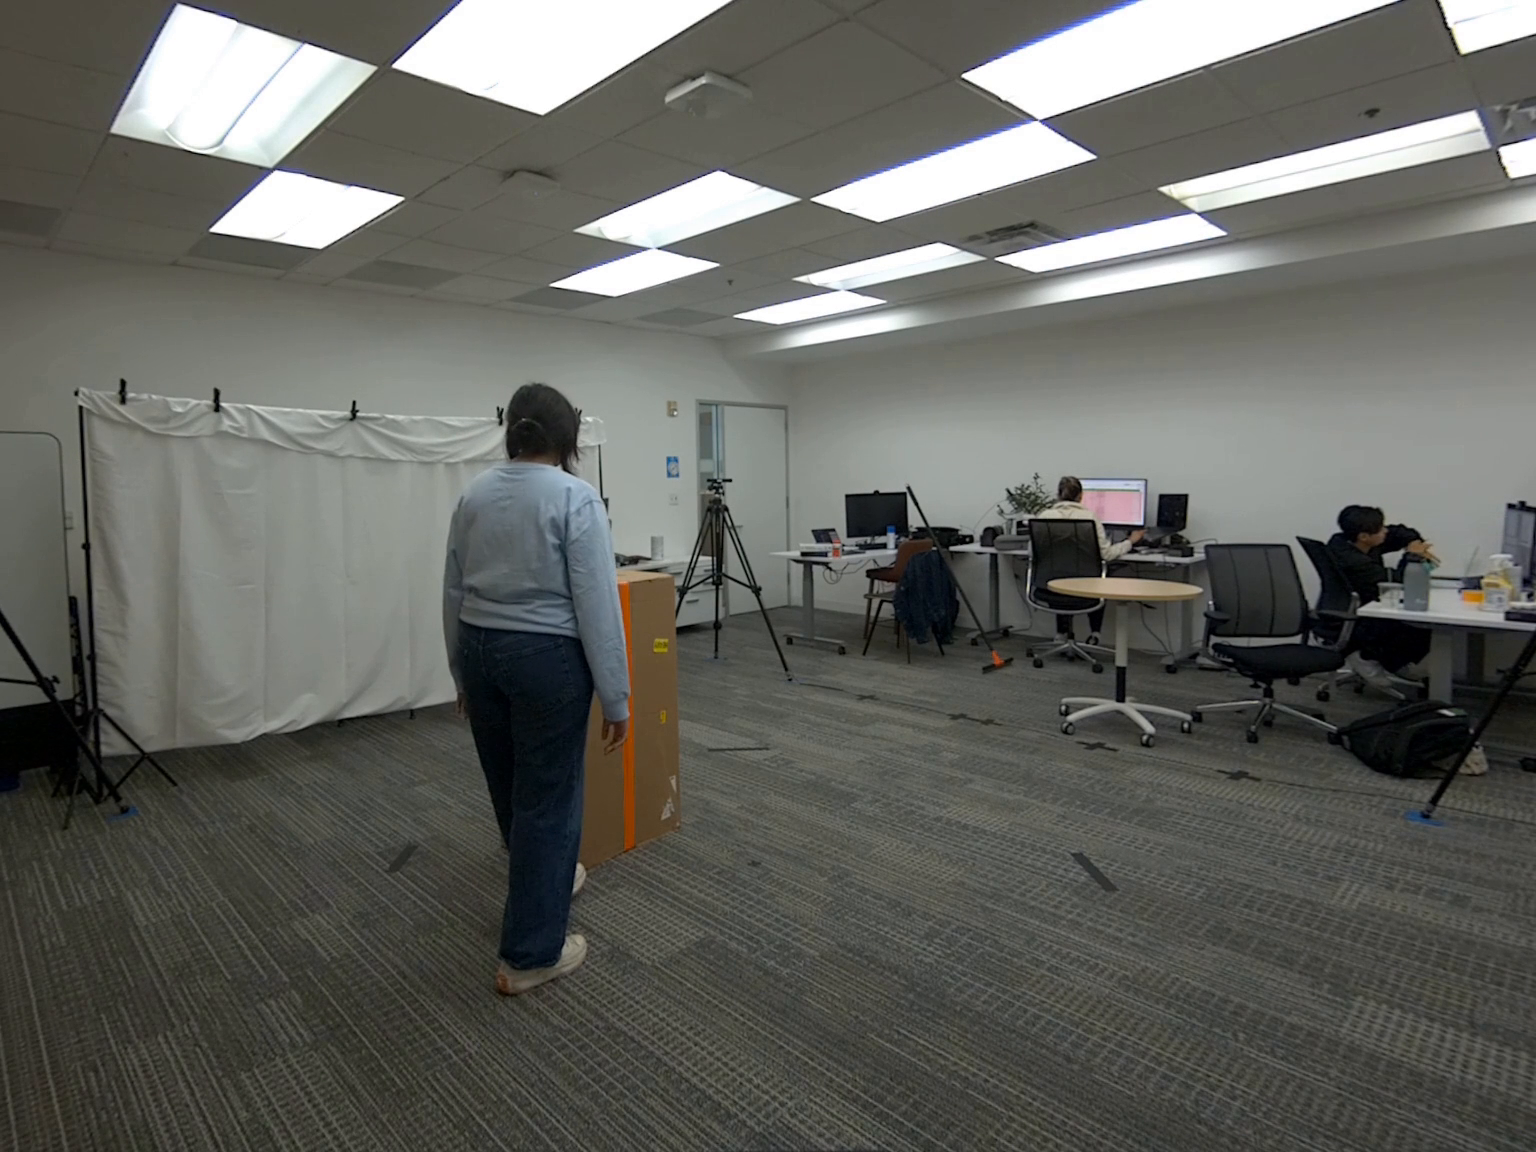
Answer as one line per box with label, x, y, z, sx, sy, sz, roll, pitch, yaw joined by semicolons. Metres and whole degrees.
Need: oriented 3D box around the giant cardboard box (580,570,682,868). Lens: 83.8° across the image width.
giant cardboard box;-0.697;0.520;3.345;0.460;1.023;0.569;3;6;41
